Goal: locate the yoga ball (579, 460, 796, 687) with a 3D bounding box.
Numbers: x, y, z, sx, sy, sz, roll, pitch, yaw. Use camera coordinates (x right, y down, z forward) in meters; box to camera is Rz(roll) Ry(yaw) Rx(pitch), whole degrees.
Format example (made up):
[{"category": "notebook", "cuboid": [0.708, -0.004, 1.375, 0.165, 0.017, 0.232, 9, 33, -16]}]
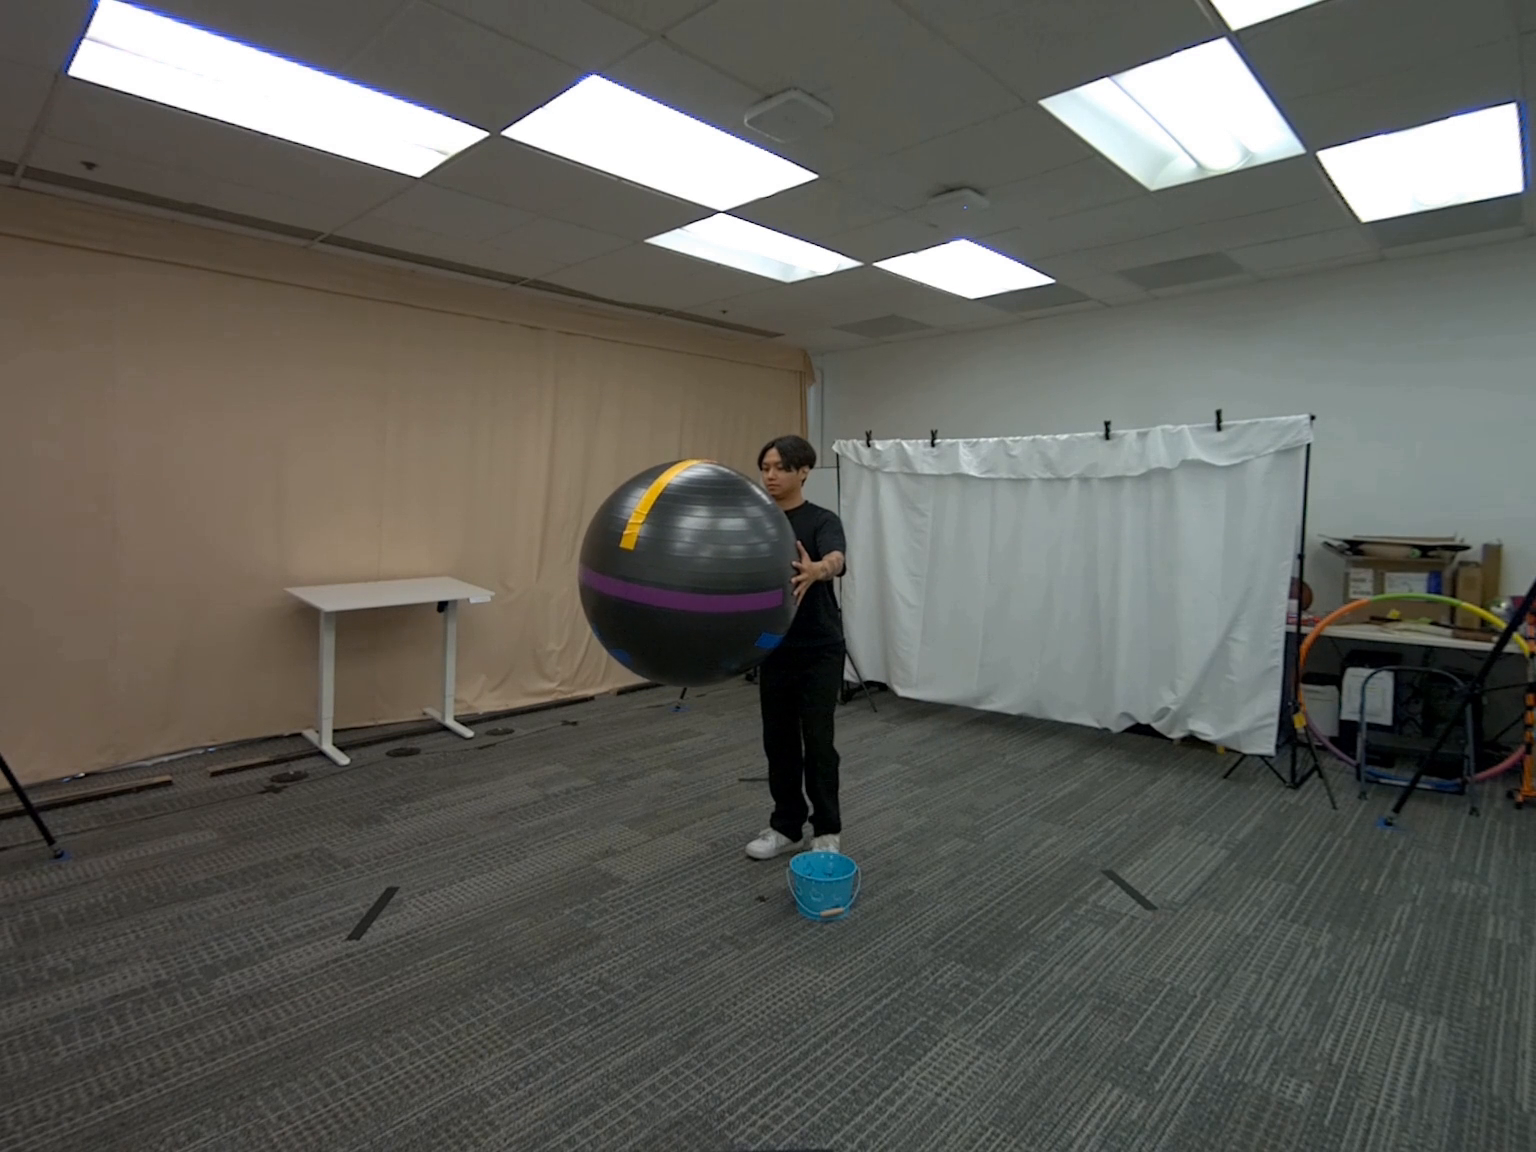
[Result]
[{"category": "yoga ball", "cuboid": [-0.263, -0.005, 2.843, 0.757, 0.756, 0.760, 0, 4, -2]}]
